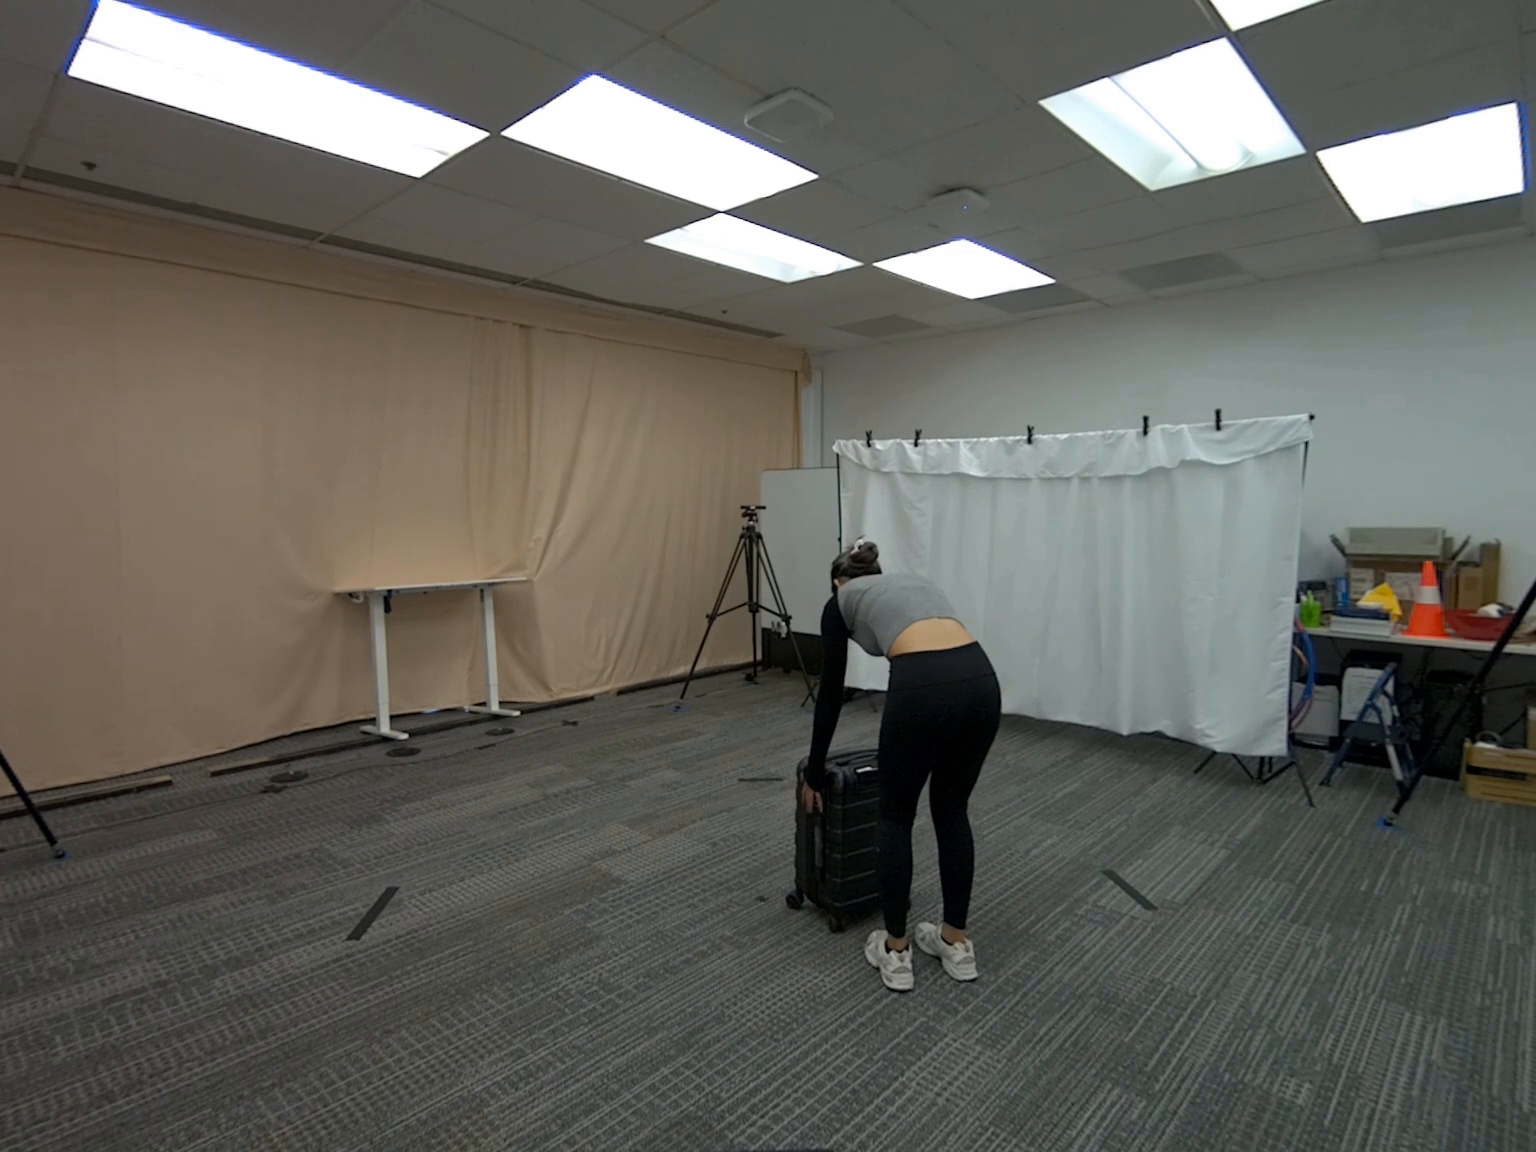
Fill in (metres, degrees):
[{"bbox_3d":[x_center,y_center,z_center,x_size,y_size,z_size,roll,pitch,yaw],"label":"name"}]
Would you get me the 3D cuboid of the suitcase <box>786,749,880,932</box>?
[{"bbox_3d":[0.292,0.873,2.882,0.365,0.548,0.256,-3,4,-31],"label":"suitcase"}]
